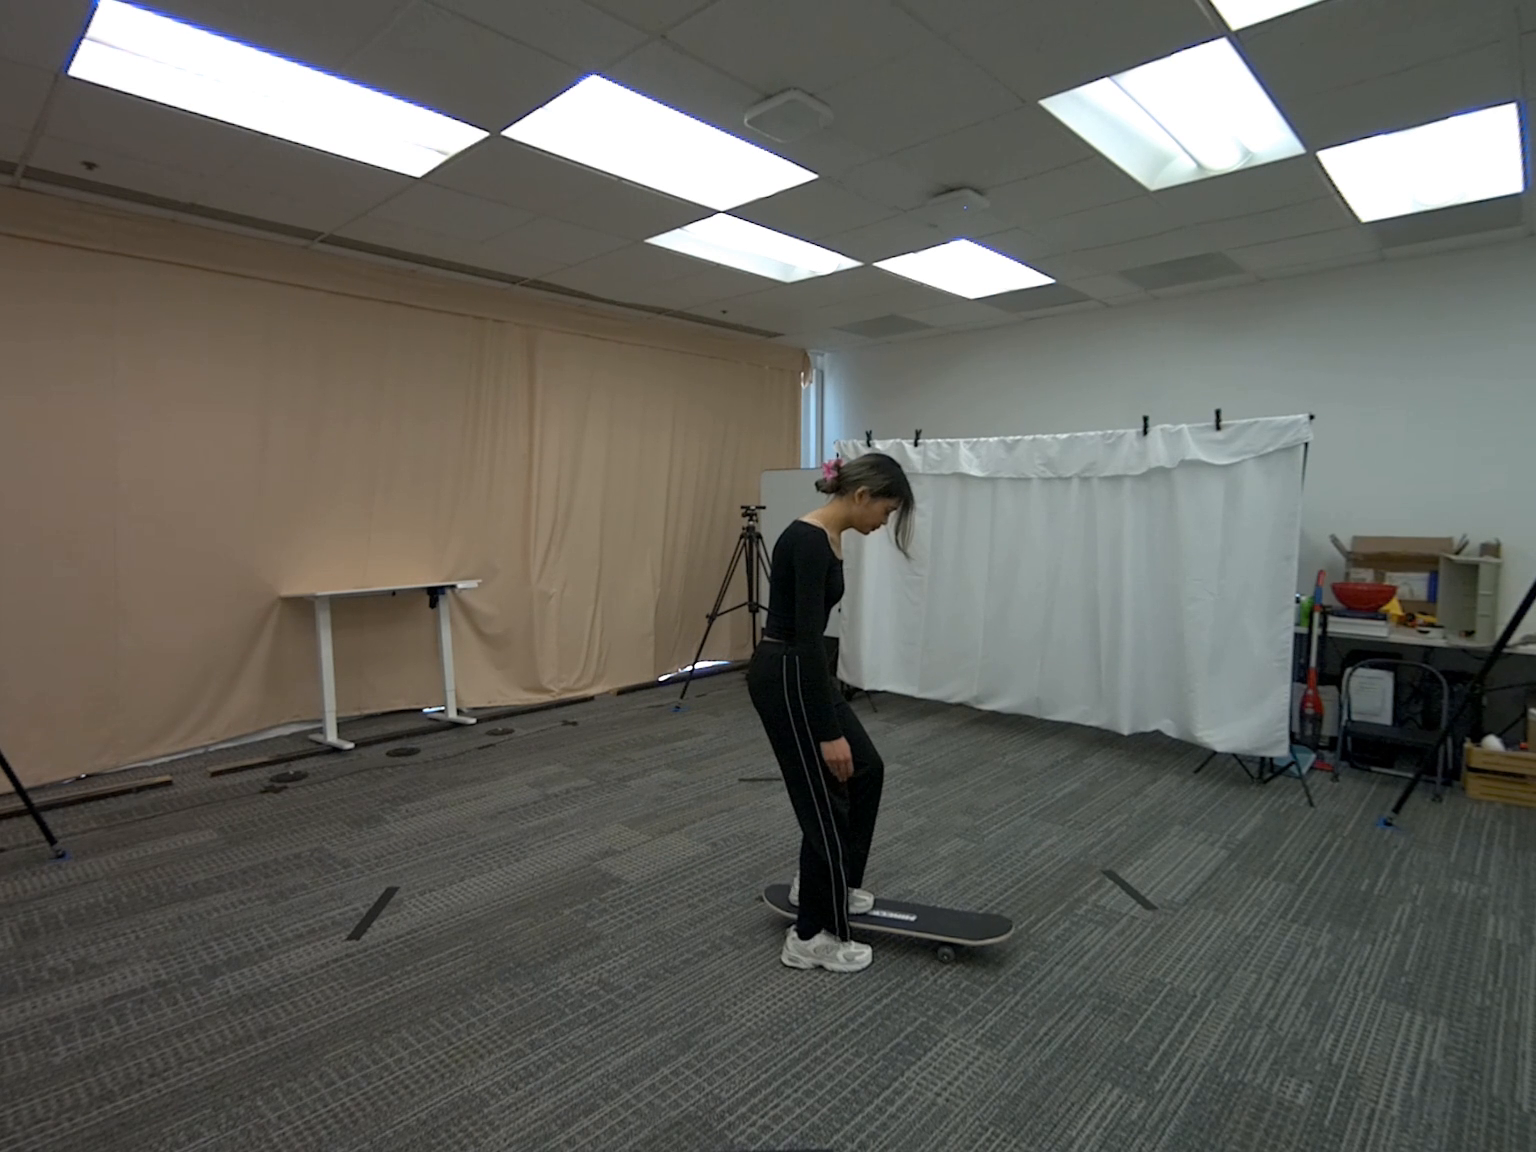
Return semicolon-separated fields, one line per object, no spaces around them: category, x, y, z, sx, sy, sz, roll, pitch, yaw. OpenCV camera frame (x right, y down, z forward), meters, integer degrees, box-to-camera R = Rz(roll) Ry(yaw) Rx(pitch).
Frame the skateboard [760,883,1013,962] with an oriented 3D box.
skateboard;0.365;1.108;2.696;0.800;0.110;0.190;1;4;17
